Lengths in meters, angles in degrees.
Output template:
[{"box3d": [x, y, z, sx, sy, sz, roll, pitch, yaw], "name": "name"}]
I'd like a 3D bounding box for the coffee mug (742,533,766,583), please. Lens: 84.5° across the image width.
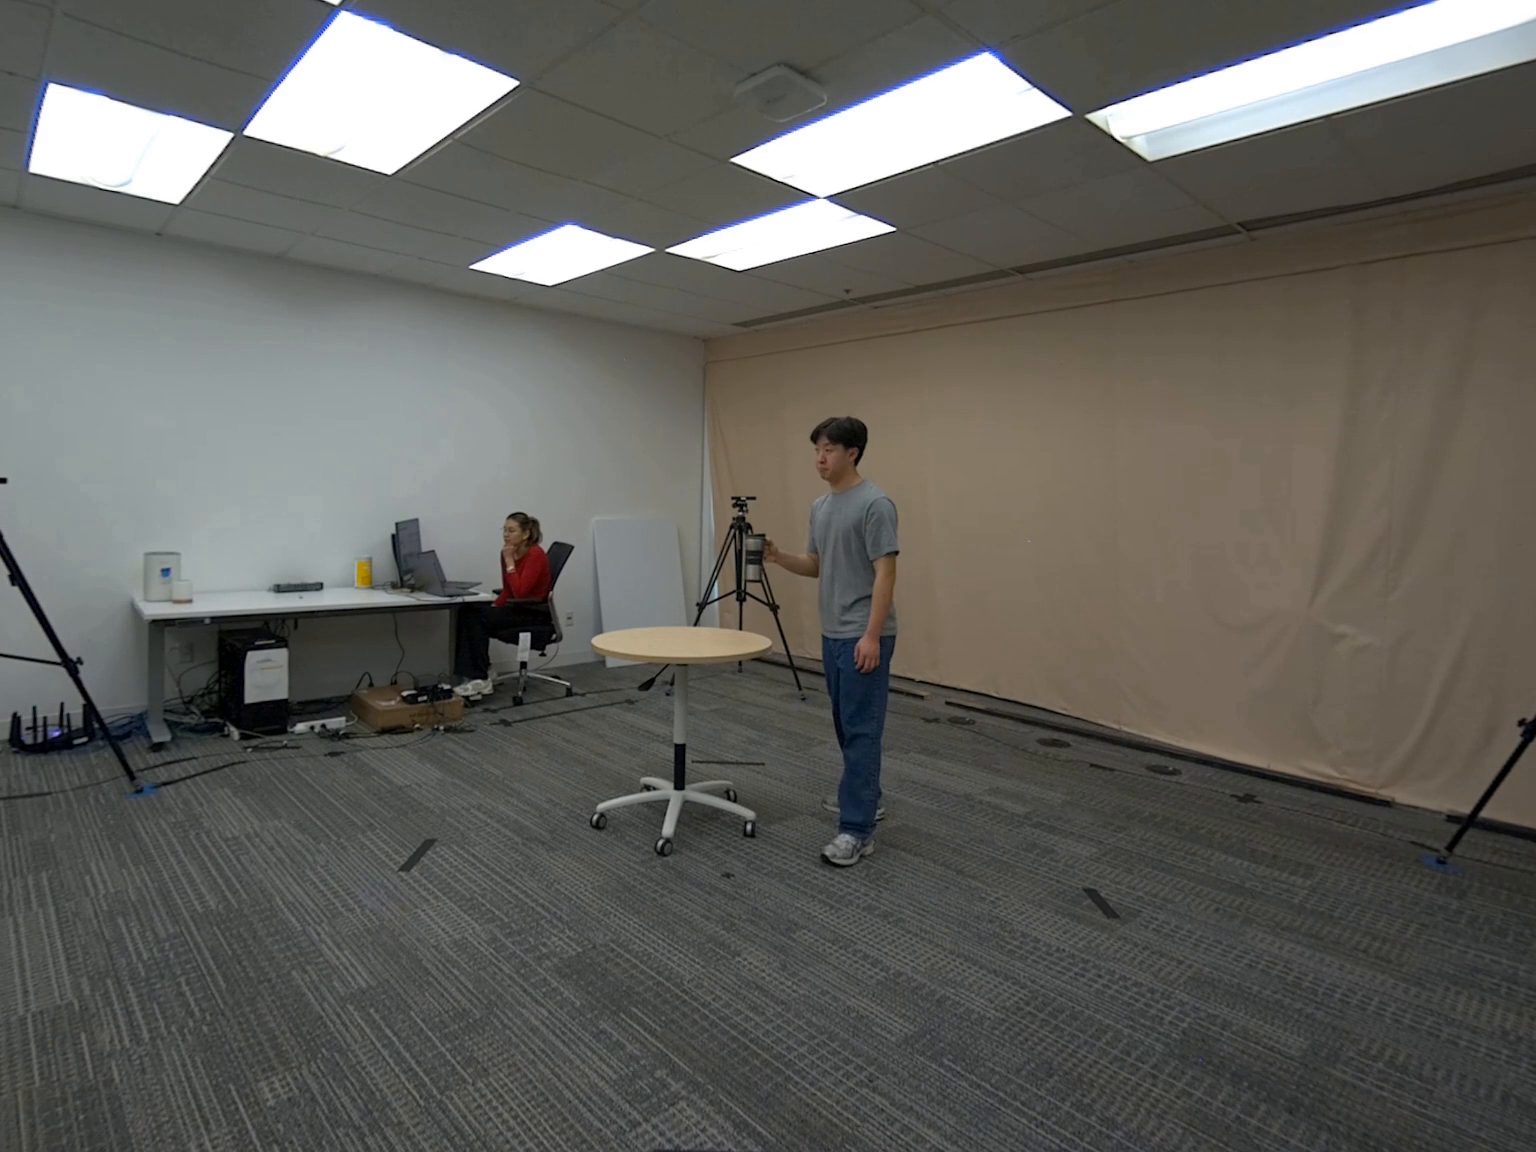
[{"box3d": [-0.041, -0.075, 3.522, 0.122, 0.203, 0.088, 0, 0, 1], "name": "coffee mug"}]
